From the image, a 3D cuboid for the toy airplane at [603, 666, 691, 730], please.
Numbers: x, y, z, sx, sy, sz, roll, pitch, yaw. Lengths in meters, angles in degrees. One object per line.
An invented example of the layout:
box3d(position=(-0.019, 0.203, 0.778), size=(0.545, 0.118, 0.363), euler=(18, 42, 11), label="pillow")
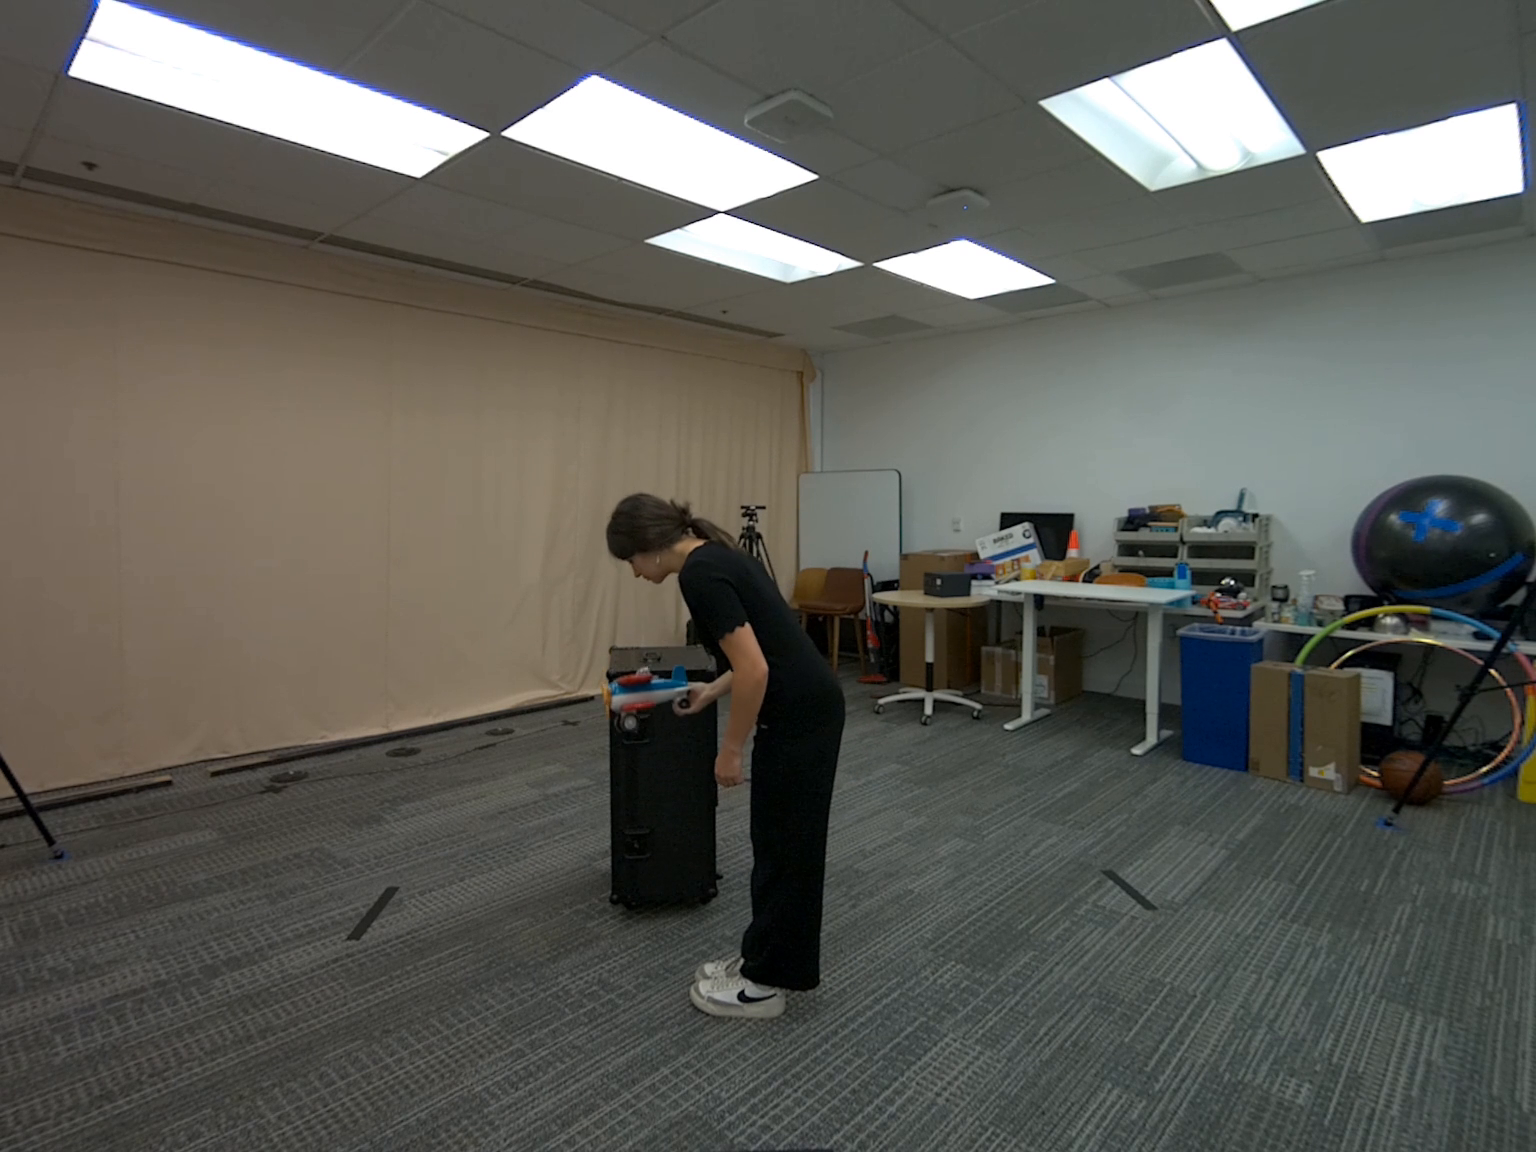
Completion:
box3d(position=(-0.358, 0.364, 2.493), size=(0.256, 0.157, 0.252), euler=(-23, -4, 39), label="toy airplane")
